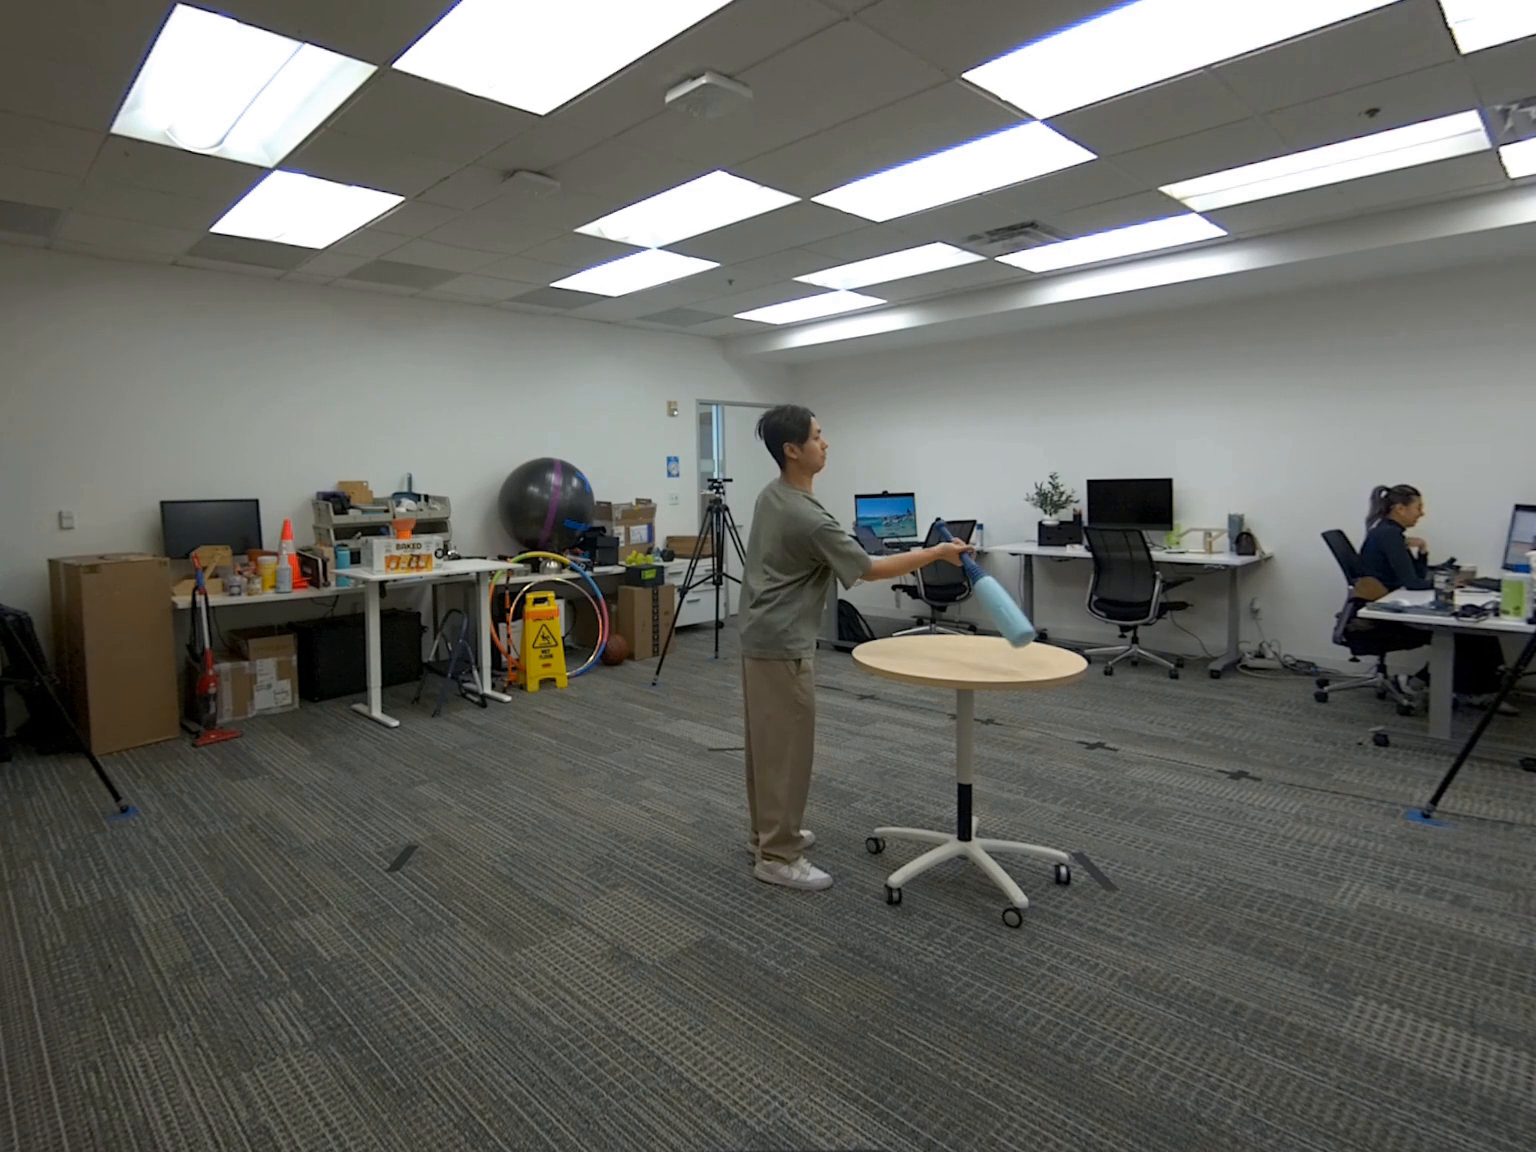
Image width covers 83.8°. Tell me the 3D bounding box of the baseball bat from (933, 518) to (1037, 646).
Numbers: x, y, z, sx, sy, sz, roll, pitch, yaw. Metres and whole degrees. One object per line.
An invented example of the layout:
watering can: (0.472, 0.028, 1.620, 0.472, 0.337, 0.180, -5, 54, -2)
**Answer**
baseball bat: (0.695, -0.038, 2.807, 0.087, 0.087, 0.563, -3, 45, -24)
